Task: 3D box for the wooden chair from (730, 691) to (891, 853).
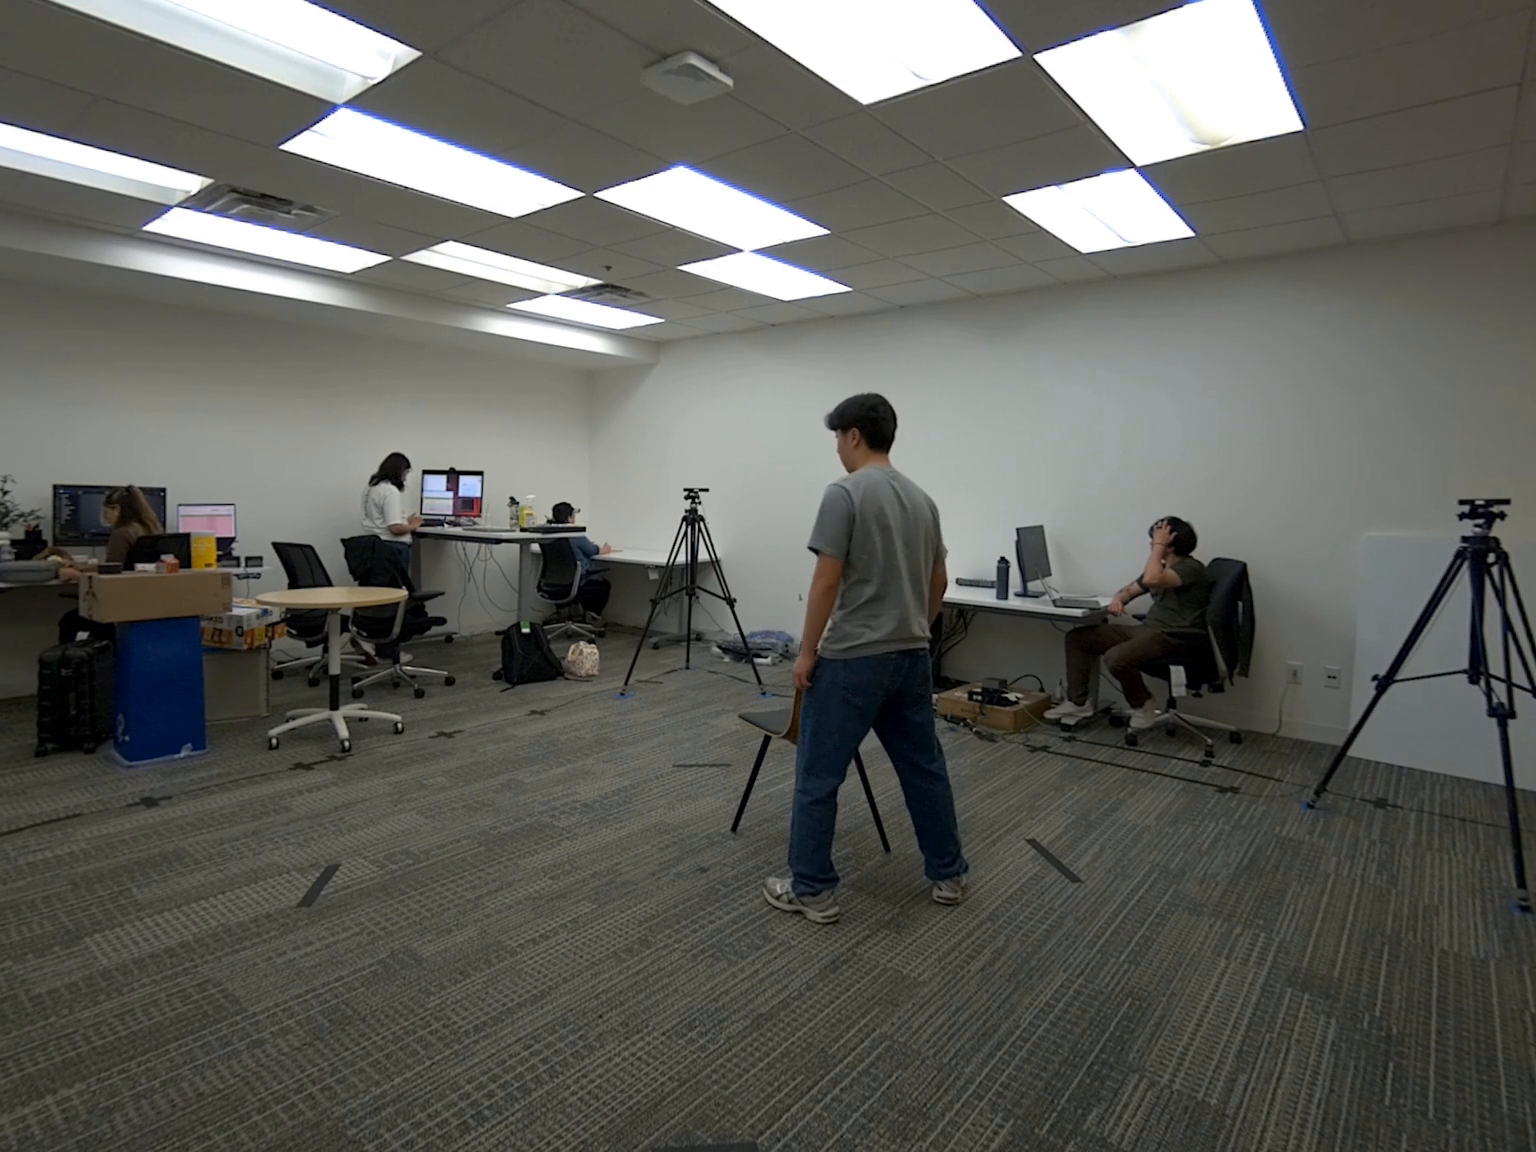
[{"bbox_3d":[0.152,0.623,3.360,0.465,0.872,0.541,-1,8,-32],"label":"wooden chair"}]
